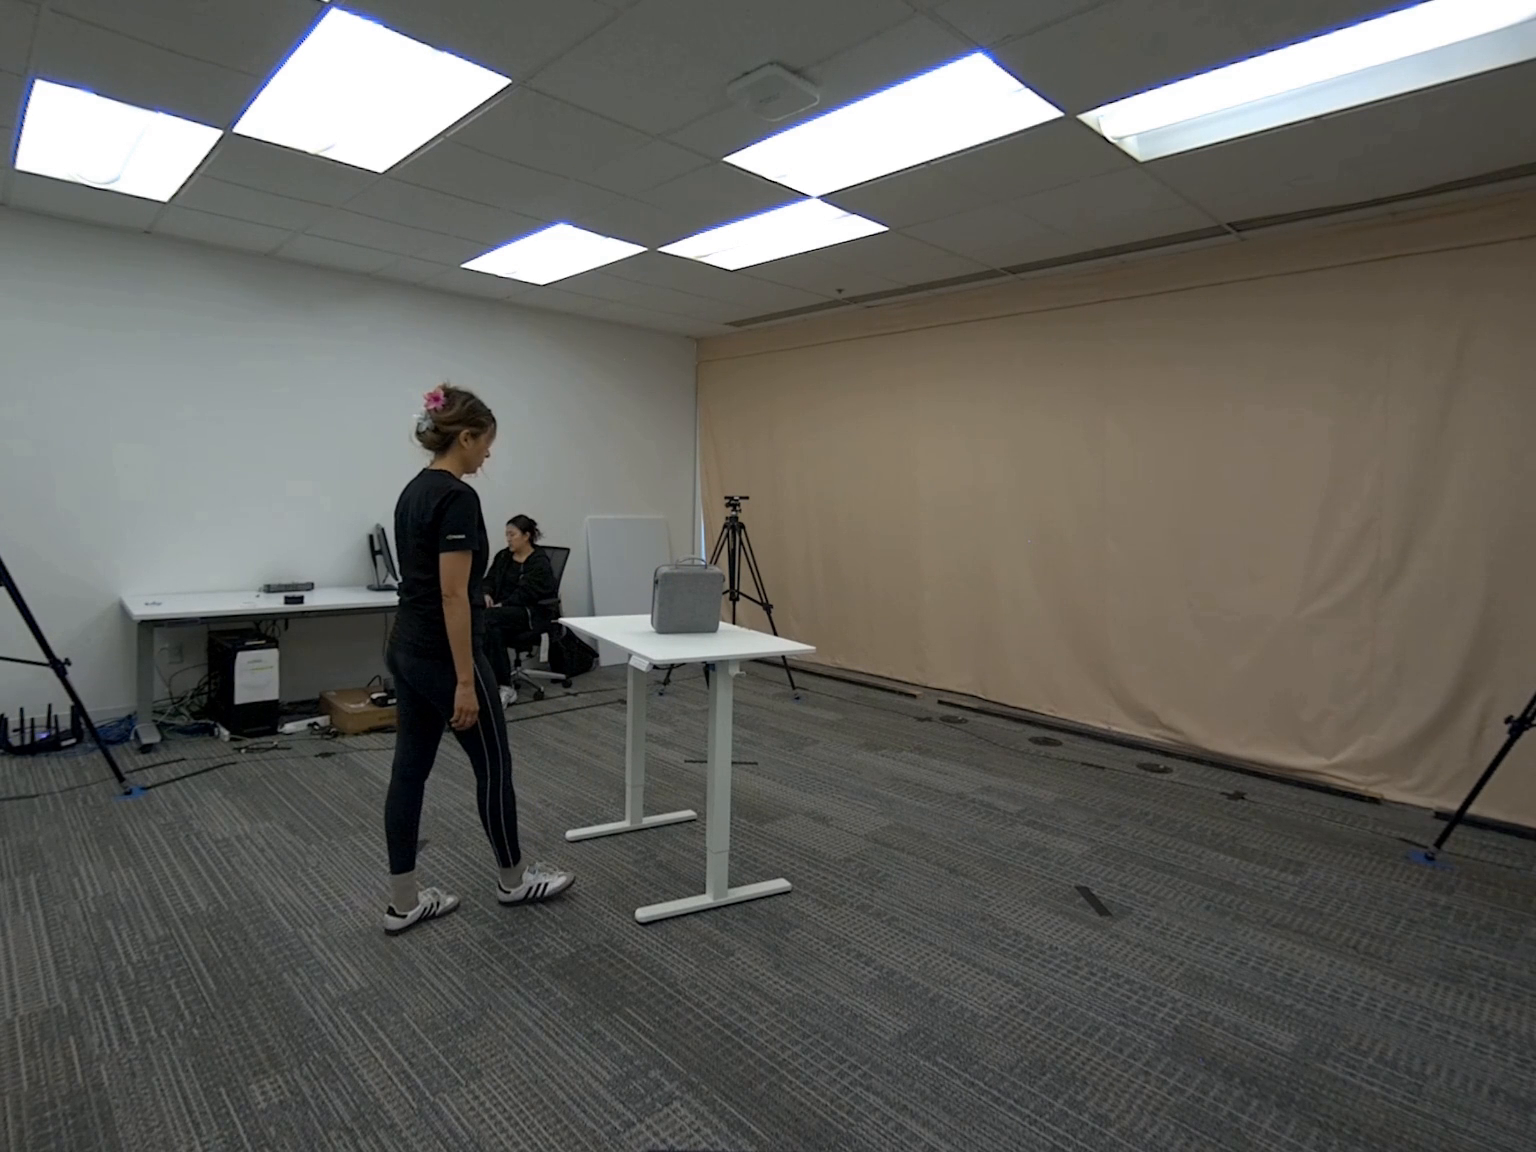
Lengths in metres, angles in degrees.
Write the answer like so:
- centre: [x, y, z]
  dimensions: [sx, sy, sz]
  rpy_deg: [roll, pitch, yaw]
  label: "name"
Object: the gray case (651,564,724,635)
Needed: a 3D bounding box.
- centre: [-0.307, 0.084, 3.142]
  dimensions: [0.253, 0.258, 0.106]
  rpy_deg: [0, 13, -17]
  label: "gray case"
